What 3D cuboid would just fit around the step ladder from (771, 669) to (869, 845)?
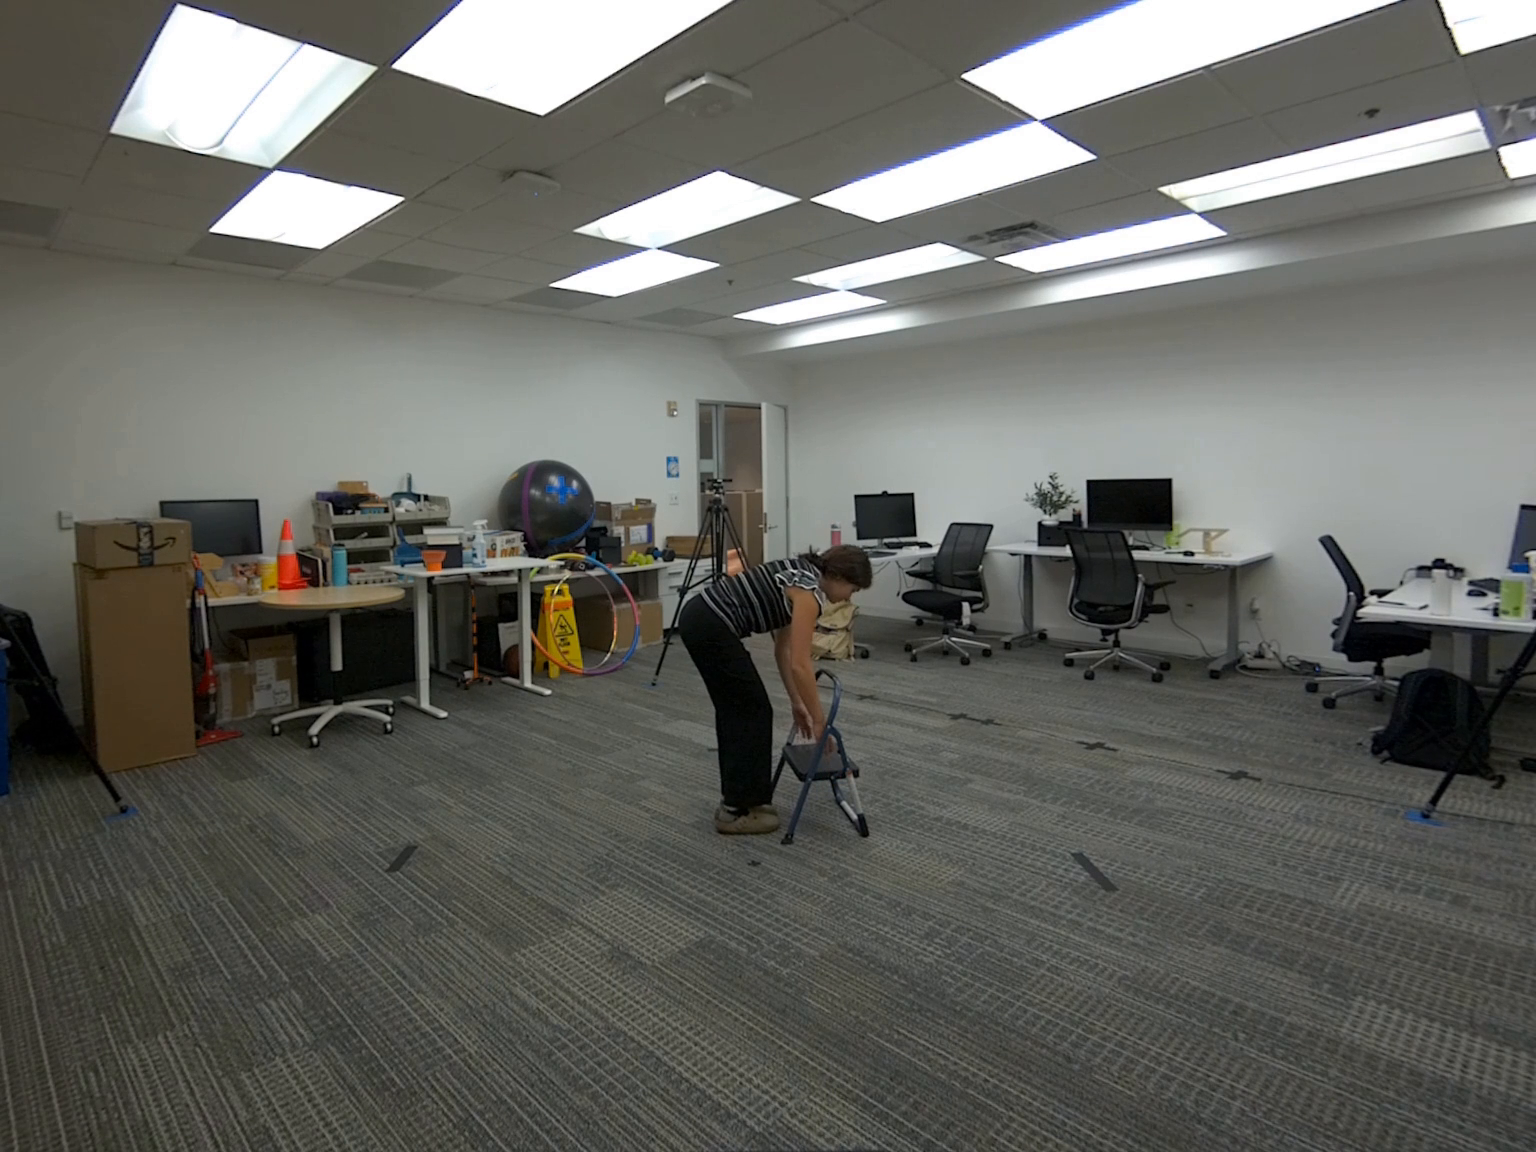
[{"bbox_3d":[0.182,0.697,3.474,0.346,0.604,0.437,-2,5,-11],"label":"step ladder"}]
